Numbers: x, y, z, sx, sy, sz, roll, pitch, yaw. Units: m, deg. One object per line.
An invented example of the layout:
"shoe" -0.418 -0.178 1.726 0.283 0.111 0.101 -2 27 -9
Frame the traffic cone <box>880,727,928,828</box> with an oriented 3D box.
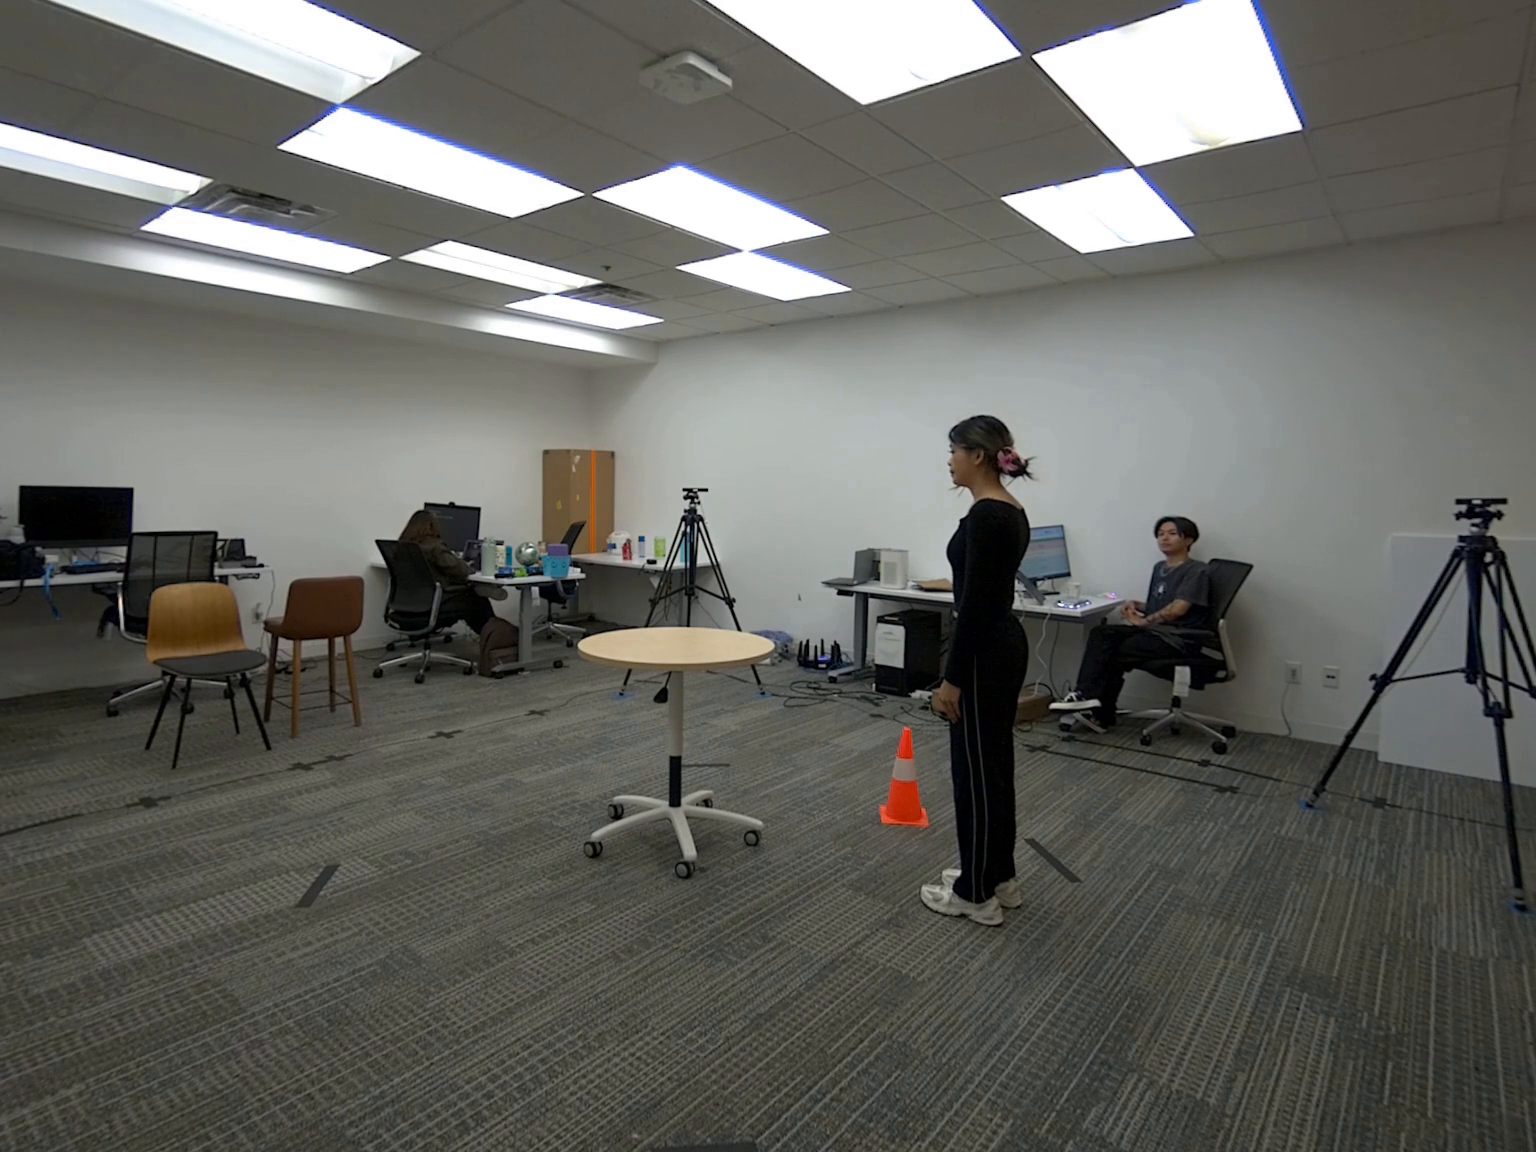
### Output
"traffic cone" 0.583 0.844 3.666 0.205 0.382 0.204 1 5 2
